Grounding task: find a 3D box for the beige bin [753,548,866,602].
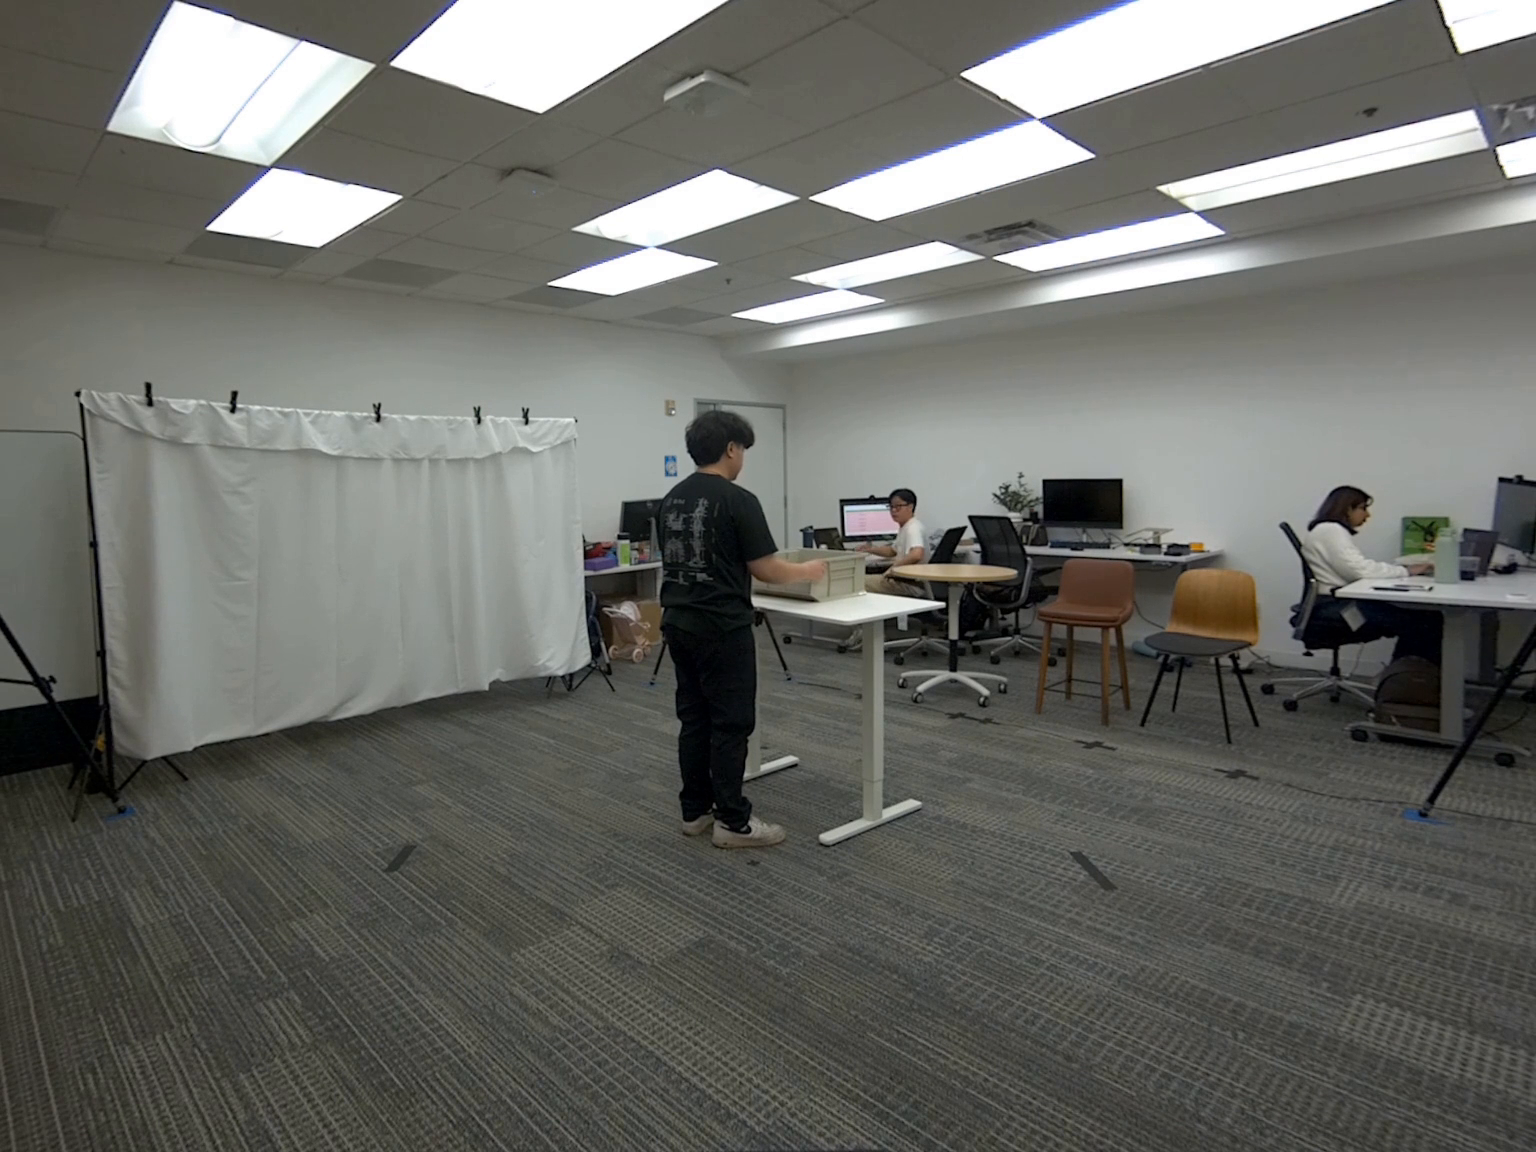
[{"bbox_3d":[0.162,-0.005,3.750,0.367,0.188,0.435,-6,9,-43],"label":"beige bin"}]
